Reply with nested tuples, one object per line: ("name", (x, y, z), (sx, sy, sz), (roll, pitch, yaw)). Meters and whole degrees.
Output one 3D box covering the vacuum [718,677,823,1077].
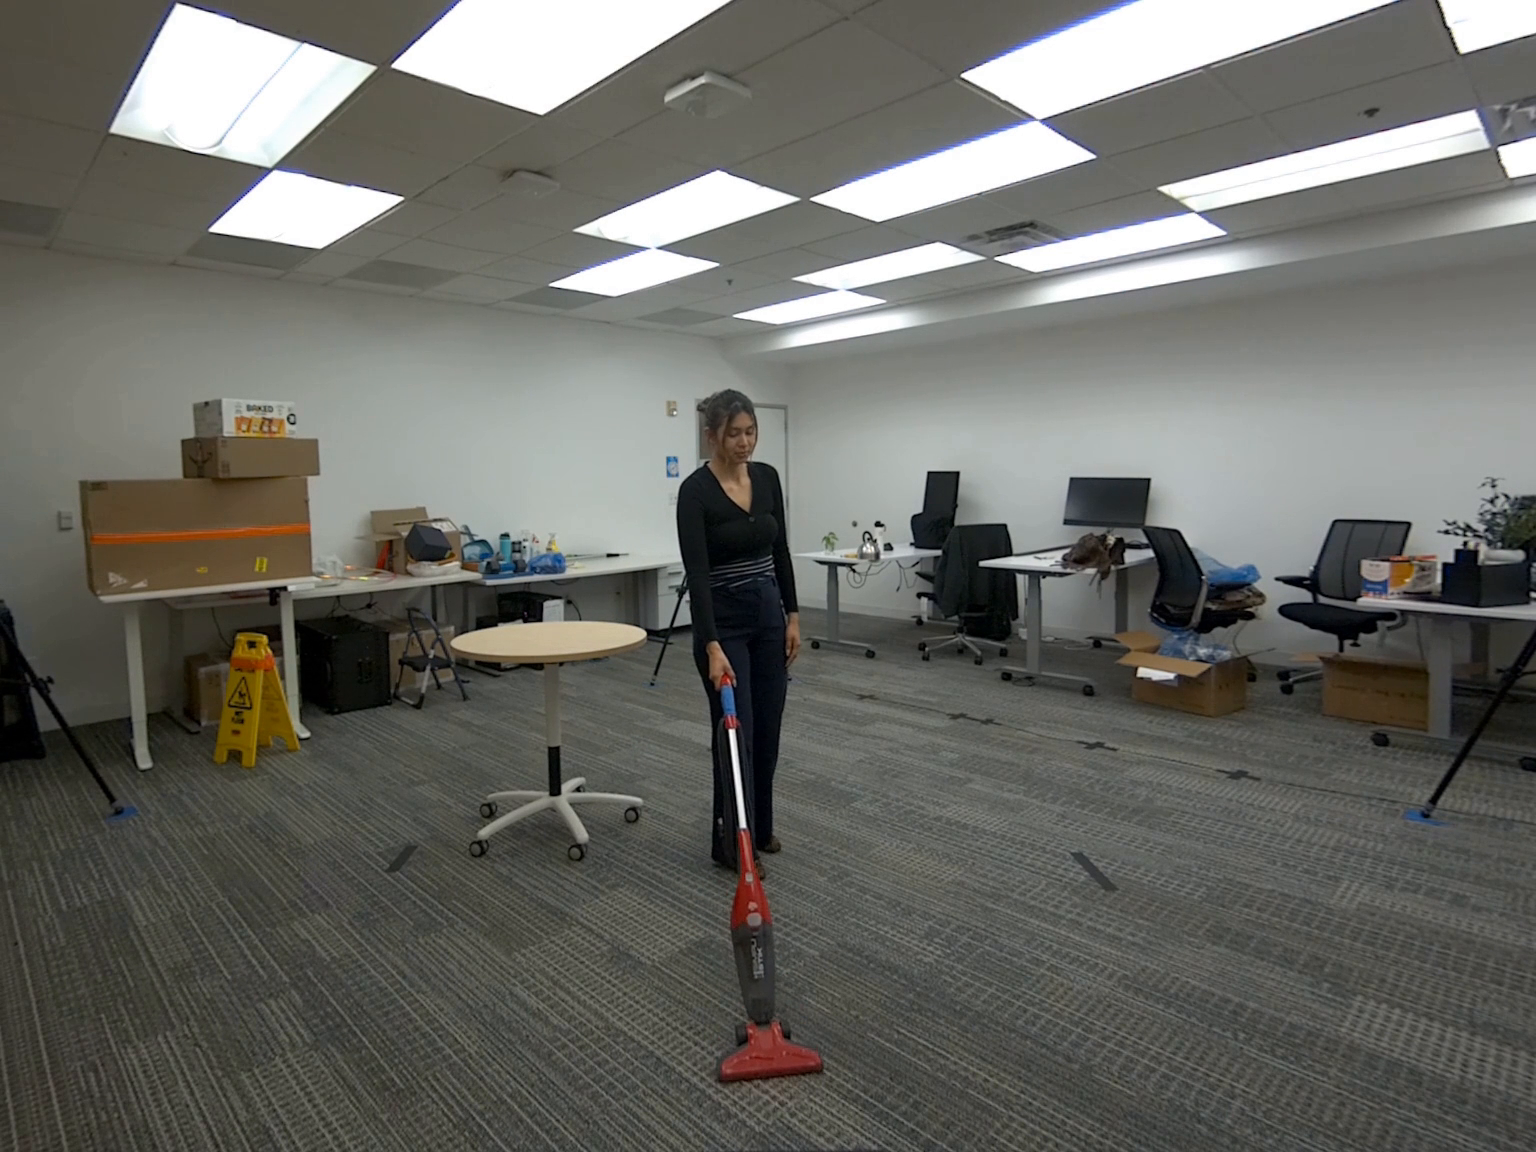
("vacuum", (-0.072, 0.730, 2.377), (0.250, 1.081, 0.141), (-2, -36, -10))
